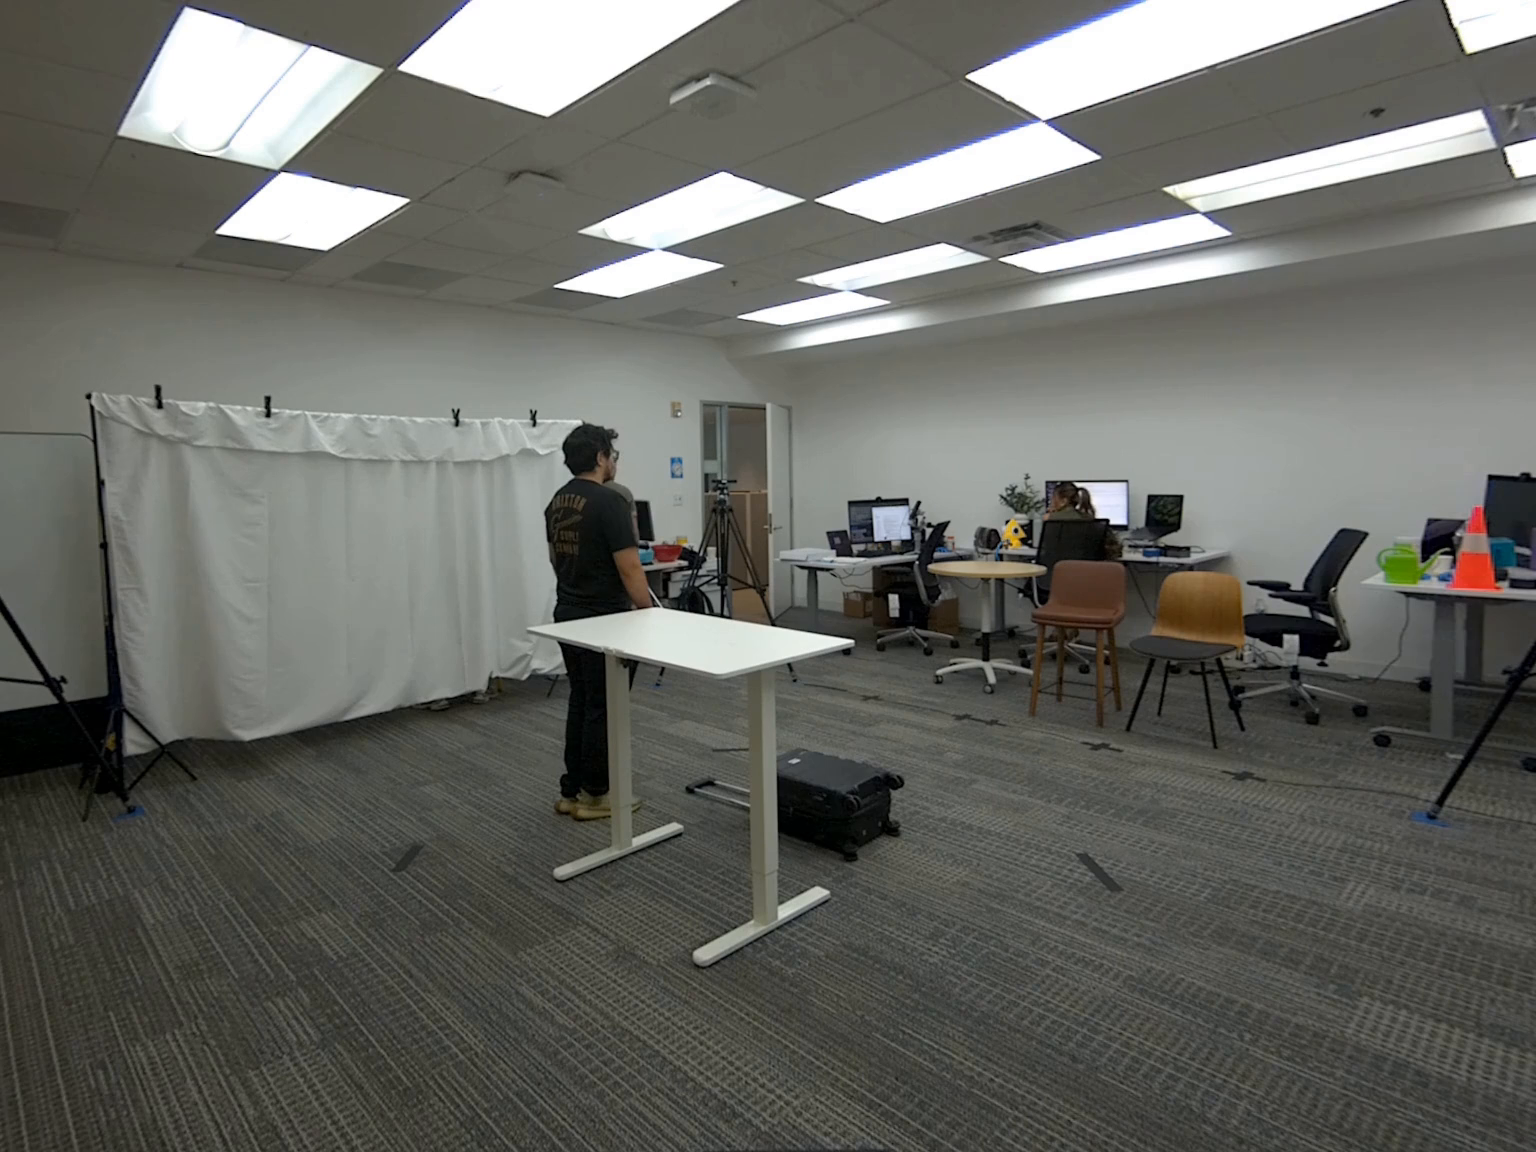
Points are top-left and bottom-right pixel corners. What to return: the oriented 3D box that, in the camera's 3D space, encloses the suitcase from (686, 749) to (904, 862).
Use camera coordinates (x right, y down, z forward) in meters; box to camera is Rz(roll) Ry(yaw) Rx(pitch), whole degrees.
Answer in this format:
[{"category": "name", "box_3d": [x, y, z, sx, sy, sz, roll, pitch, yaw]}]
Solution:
[{"category": "suitcase", "box_3d": [0.061, 0.870, 3.565, 1.009, 0.255, 0.374, 6, 9, 42]}]
